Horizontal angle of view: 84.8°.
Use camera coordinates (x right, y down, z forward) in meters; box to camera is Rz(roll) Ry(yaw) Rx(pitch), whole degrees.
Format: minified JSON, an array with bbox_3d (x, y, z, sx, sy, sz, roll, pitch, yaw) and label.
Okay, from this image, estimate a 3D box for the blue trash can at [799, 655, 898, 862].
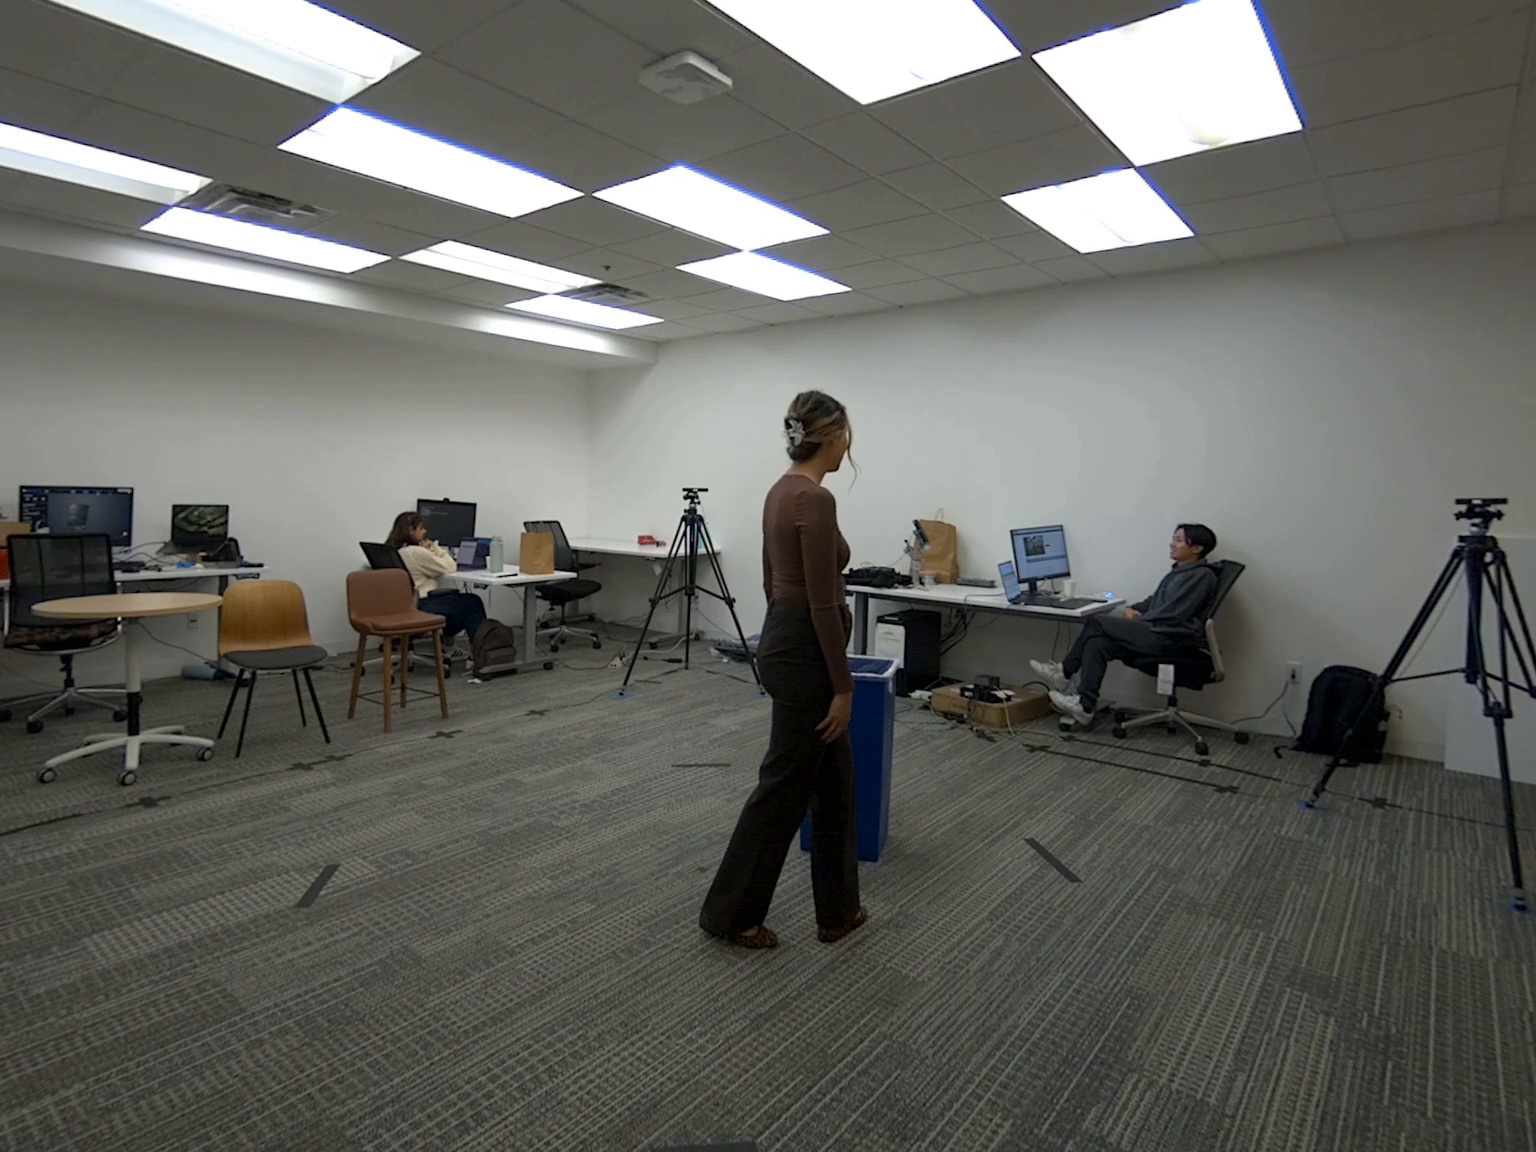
[{"bbox_3d":[0.300,0.697,3.369,0.381,0.712,0.372,2,3,17],"label":"blue trash can"}]
